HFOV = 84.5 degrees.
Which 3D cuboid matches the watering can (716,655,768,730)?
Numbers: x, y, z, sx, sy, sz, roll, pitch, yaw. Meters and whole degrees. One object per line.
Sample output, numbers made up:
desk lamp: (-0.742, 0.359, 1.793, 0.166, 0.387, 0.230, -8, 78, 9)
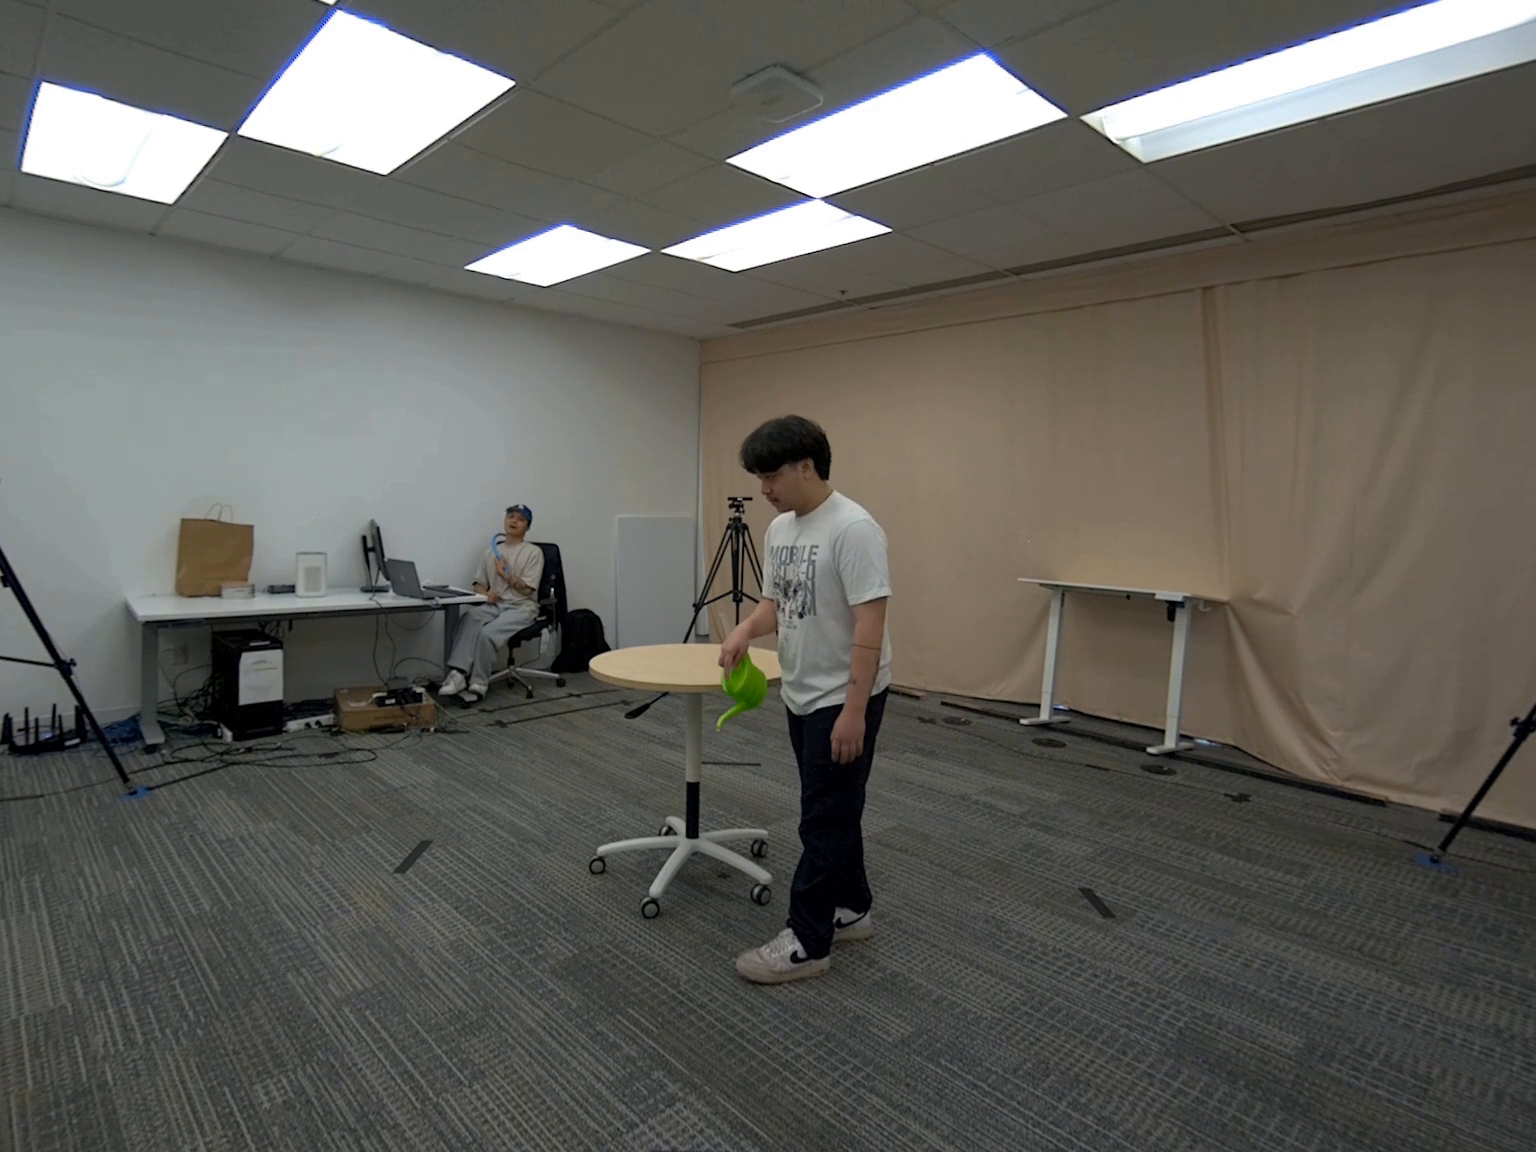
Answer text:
watering can: (-0.095, 0.354, 2.543, 0.100, 0.281, 0.171, 4, -28, 33)
